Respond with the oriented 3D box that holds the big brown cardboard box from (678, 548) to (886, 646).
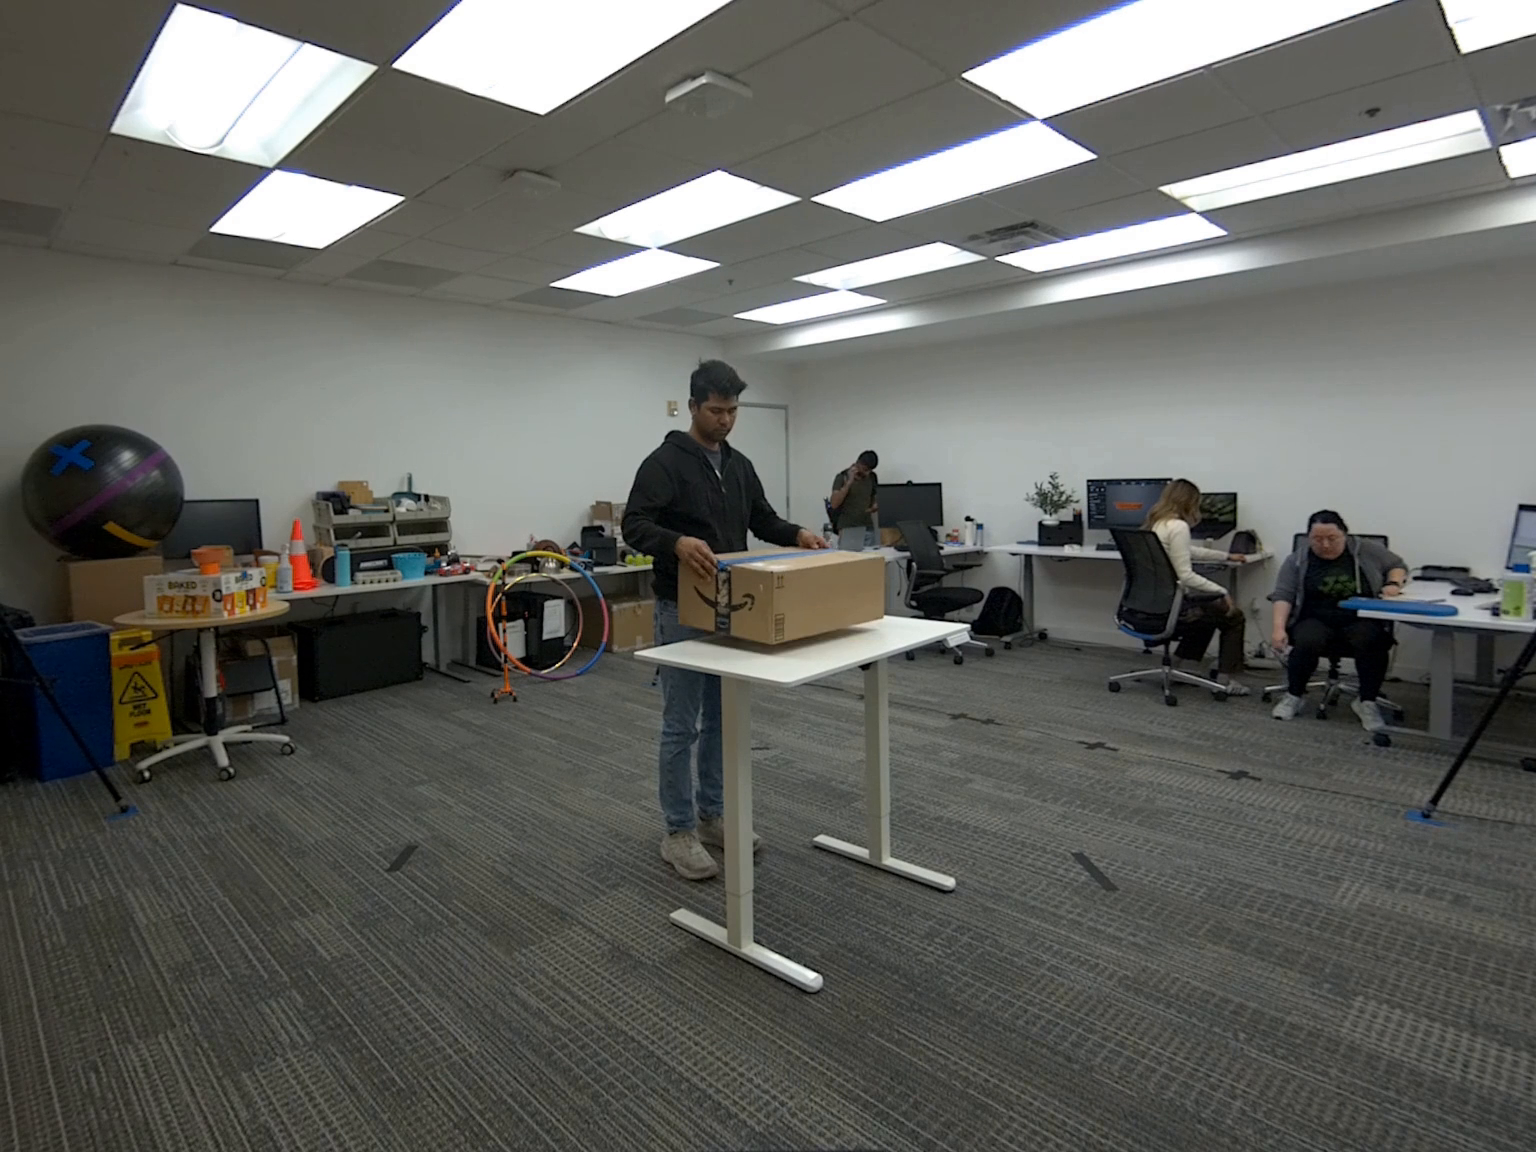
[{"bbox_3d":[0.039,0.042,2.804,0.431,0.232,0.573,6,9,43],"label":"big brown cardboard box"}]
